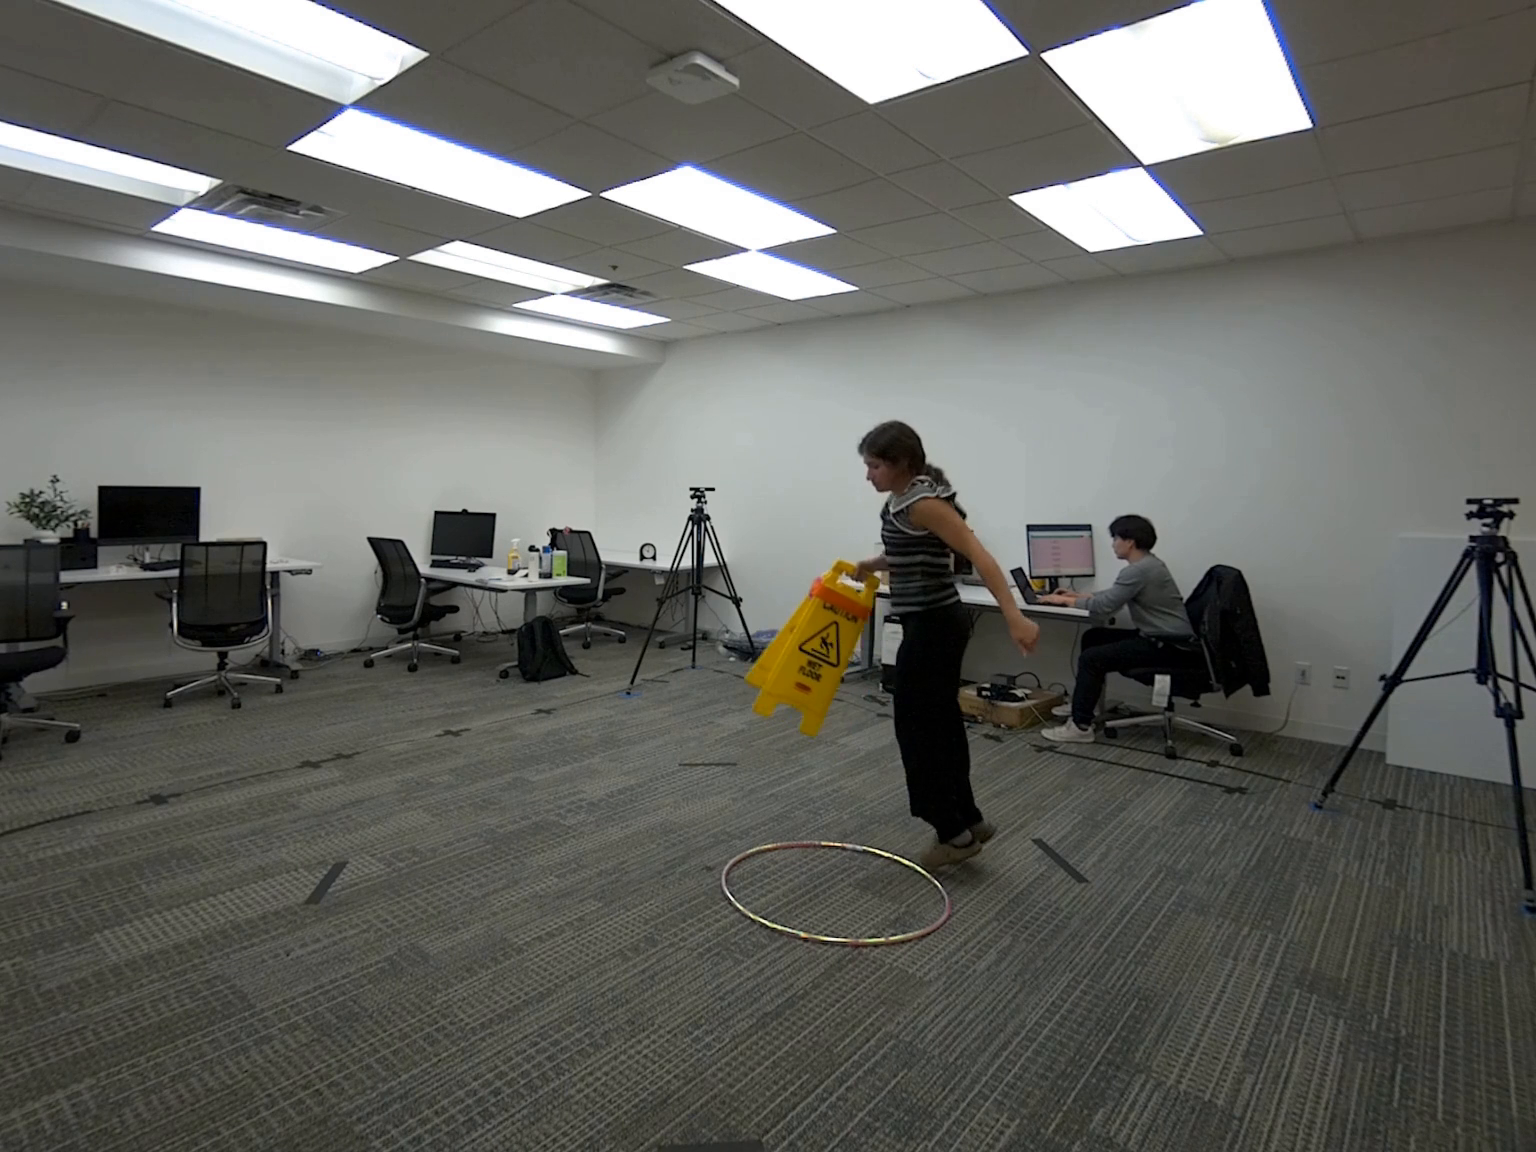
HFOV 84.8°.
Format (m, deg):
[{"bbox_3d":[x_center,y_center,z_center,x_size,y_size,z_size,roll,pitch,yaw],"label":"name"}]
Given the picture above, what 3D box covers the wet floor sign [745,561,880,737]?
[{"bbox_3d":[0.195,0.280,3.263,0.279,0.642,0.295,21,14,-10],"label":"wet floor sign"}]
